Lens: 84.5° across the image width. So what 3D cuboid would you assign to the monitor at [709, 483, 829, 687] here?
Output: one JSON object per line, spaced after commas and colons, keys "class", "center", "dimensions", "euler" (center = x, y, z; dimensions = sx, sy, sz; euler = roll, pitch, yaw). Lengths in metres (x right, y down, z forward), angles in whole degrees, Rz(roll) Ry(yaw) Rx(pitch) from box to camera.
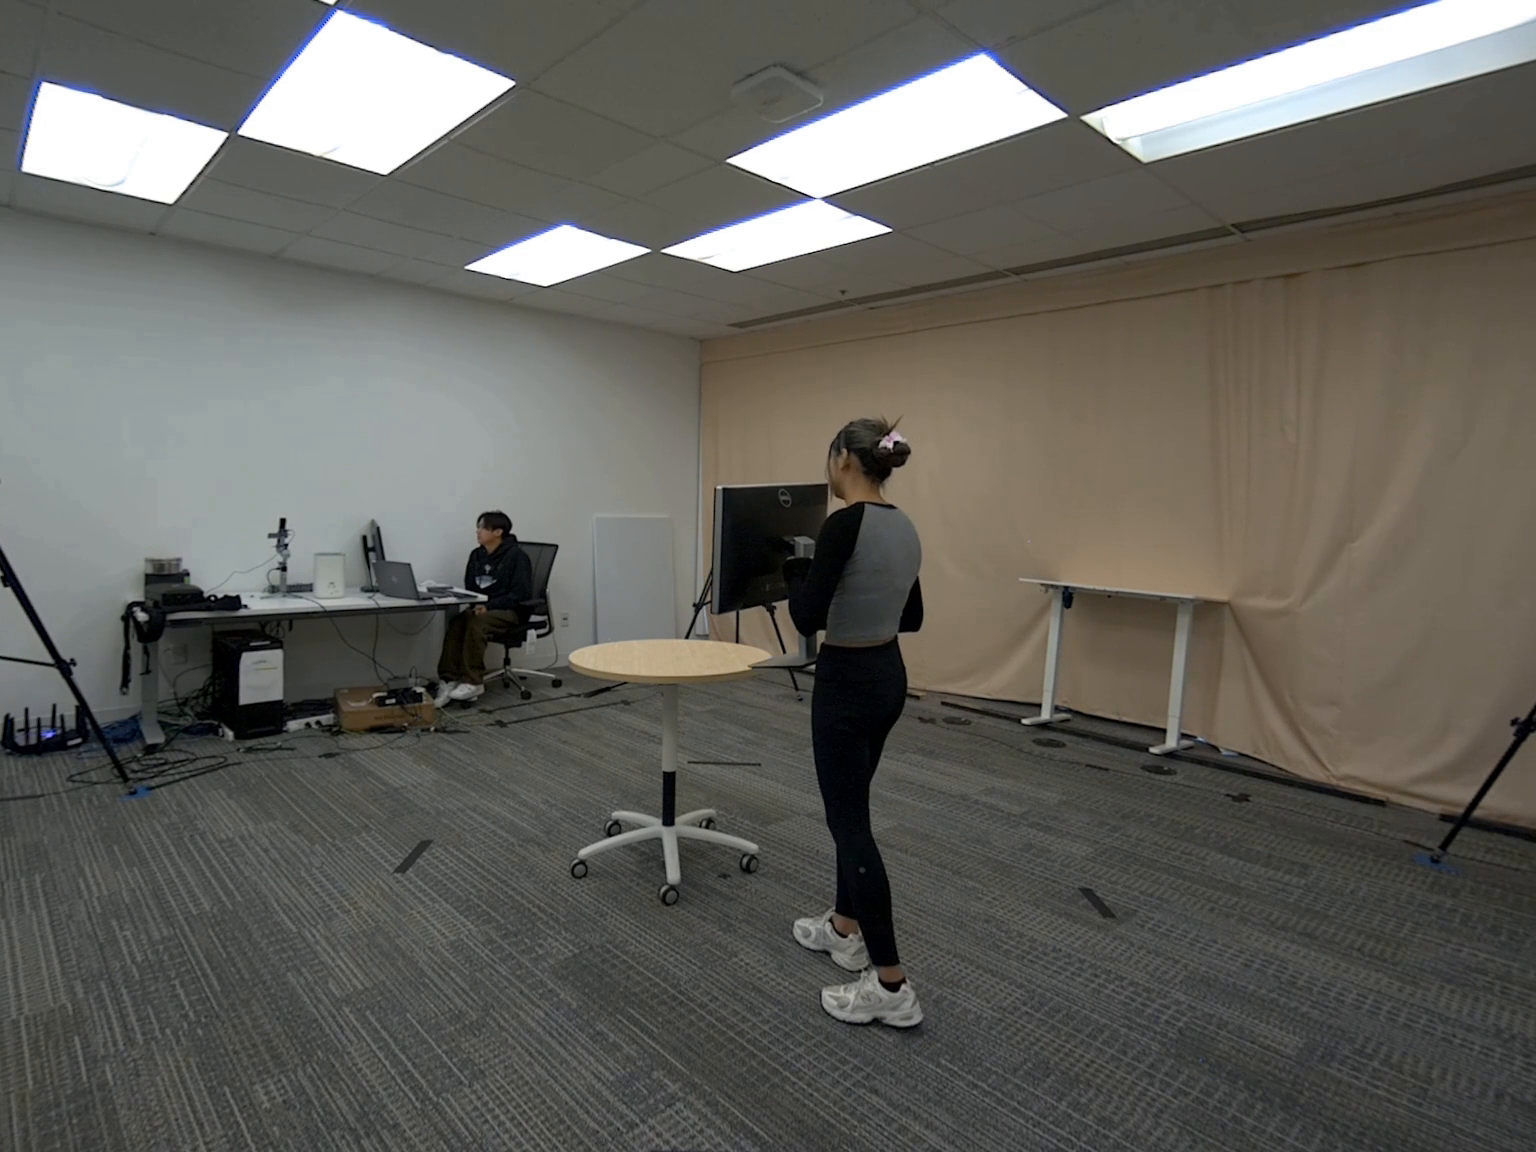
{"class": "monitor", "center": [0.054, -0.006, 2.542], "dimensions": [0.191, 0.522, 0.528], "euler": [-6, 1, 36]}
